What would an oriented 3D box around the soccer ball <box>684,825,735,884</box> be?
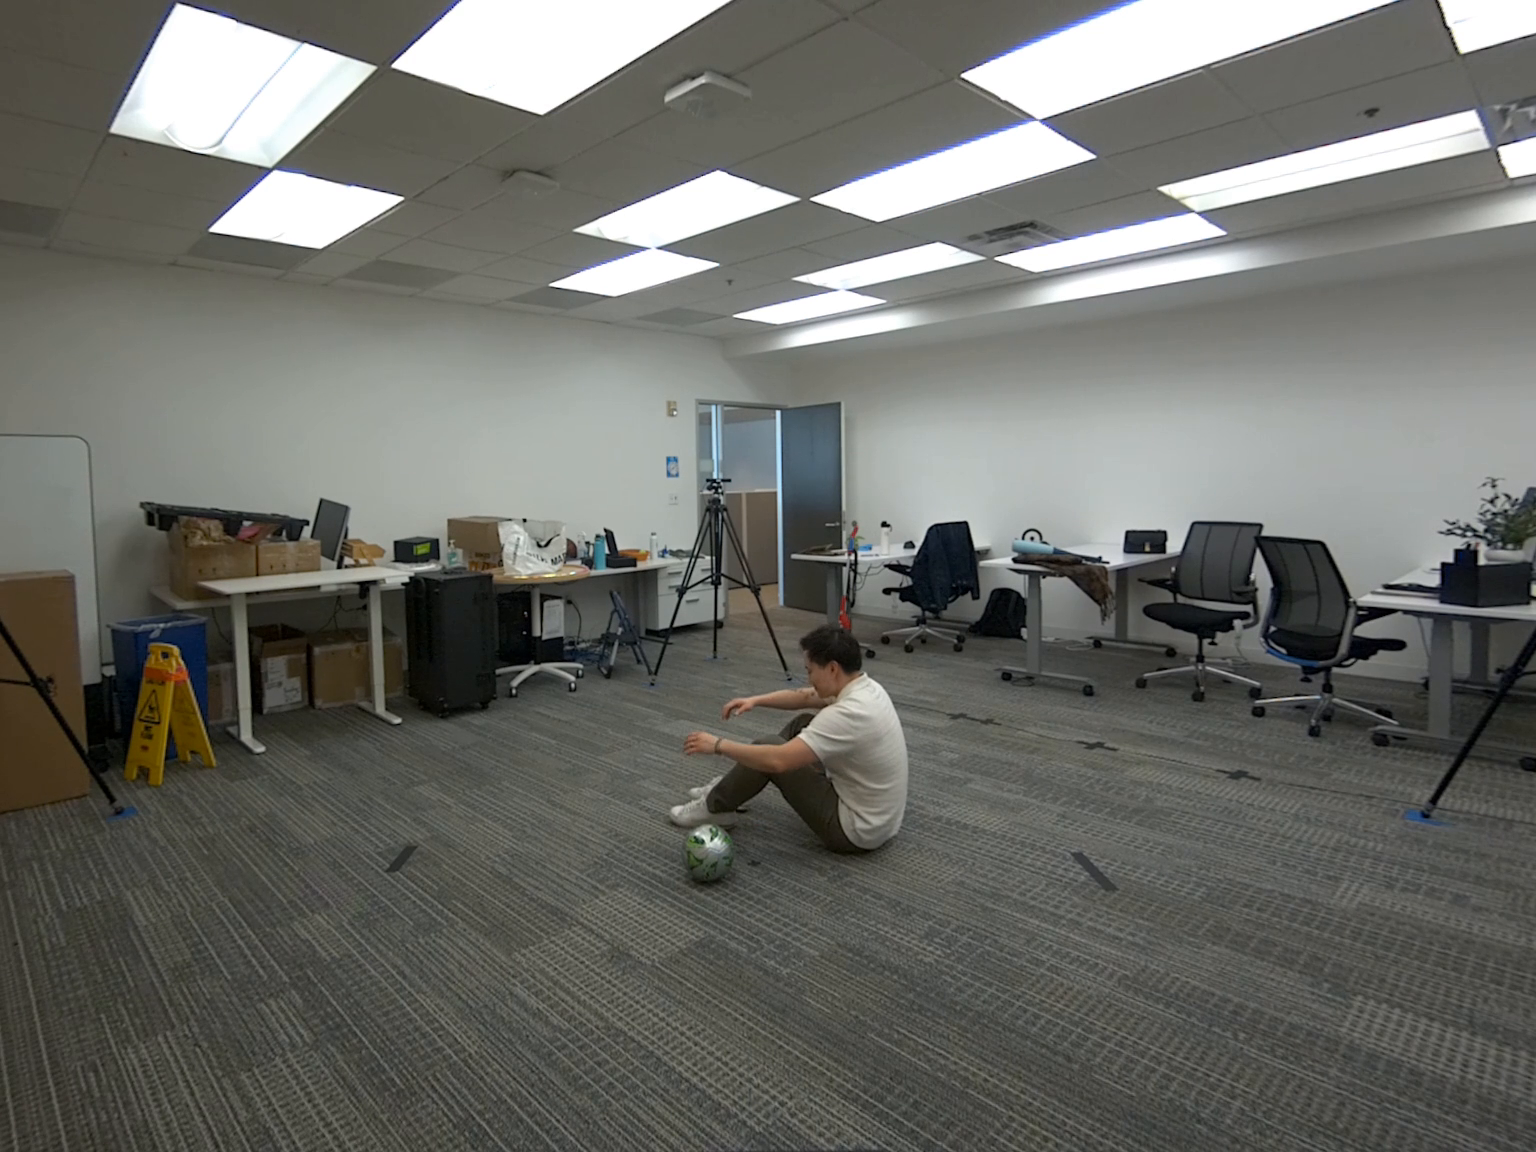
[{"bbox_3d":[-0.207,0.968,2.984,0.187,0.187,0.188,-1,5,-2],"label":"soccer ball"}]
